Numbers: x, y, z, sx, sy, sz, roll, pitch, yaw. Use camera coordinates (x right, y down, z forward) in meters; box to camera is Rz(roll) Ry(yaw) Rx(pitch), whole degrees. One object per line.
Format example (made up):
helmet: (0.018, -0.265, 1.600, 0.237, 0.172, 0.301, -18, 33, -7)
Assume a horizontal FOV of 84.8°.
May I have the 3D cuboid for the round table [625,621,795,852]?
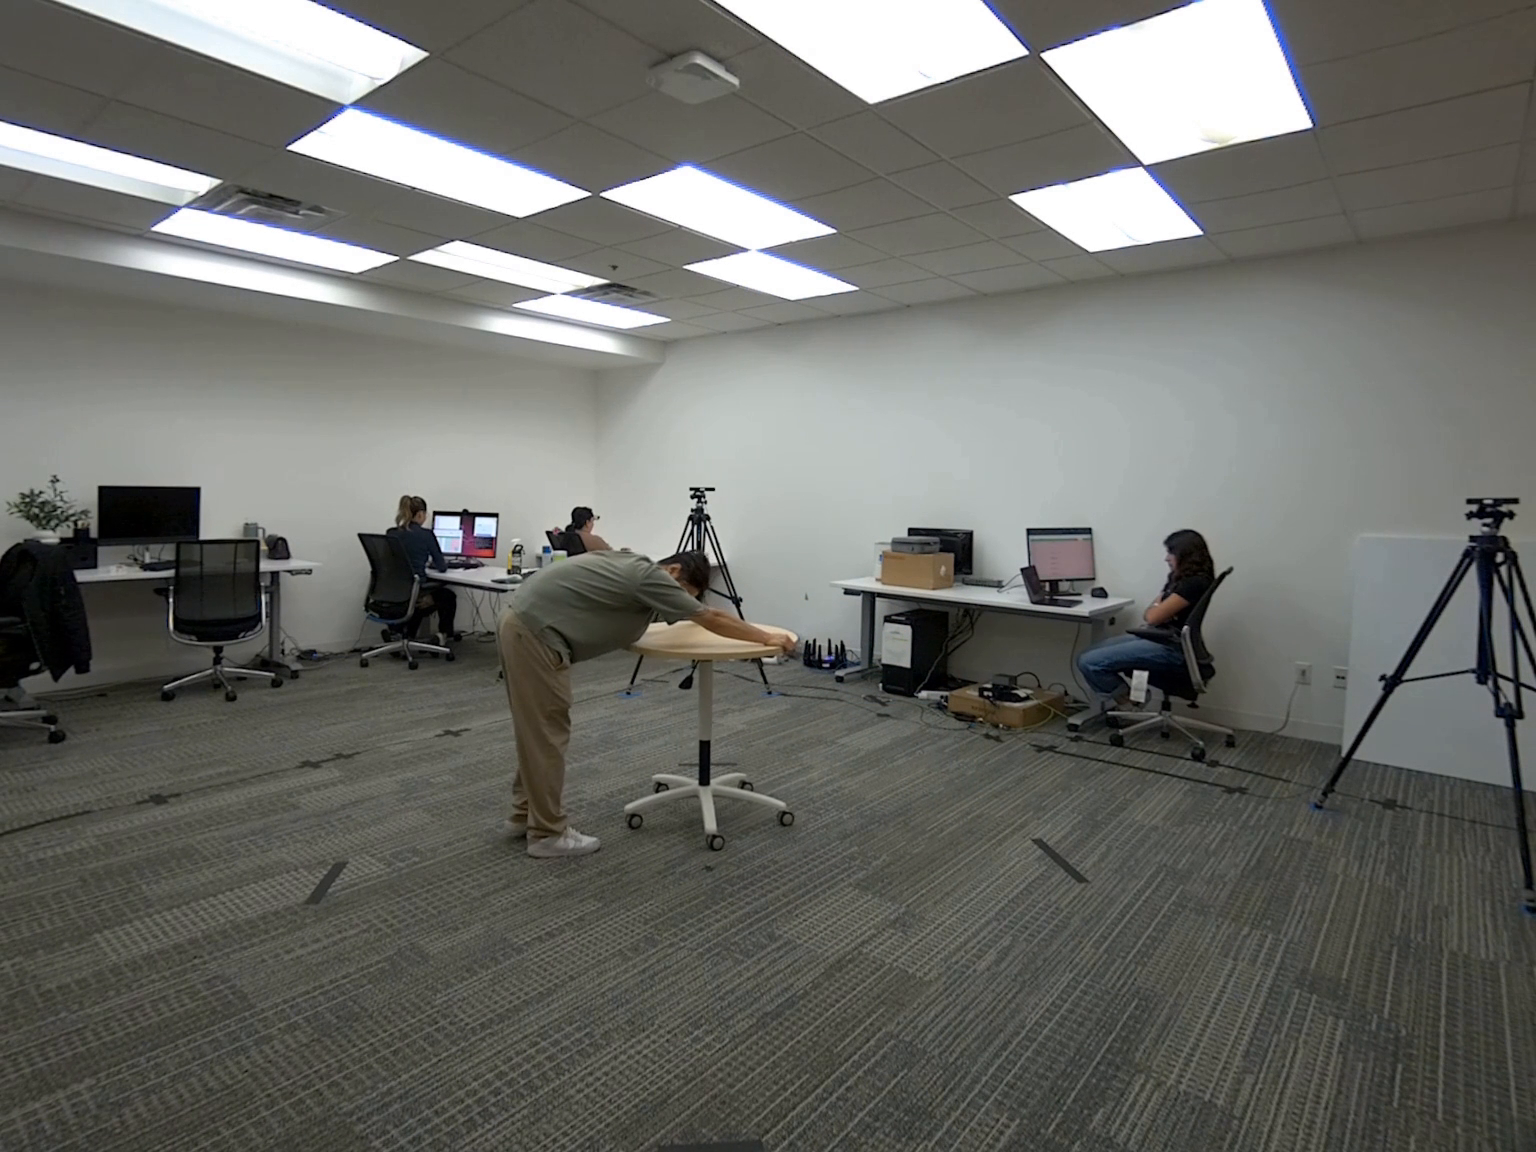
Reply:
round table: (-0.277, 0.632, 3.600, 0.784, 0.784, 0.789, 1, 4, -2)
